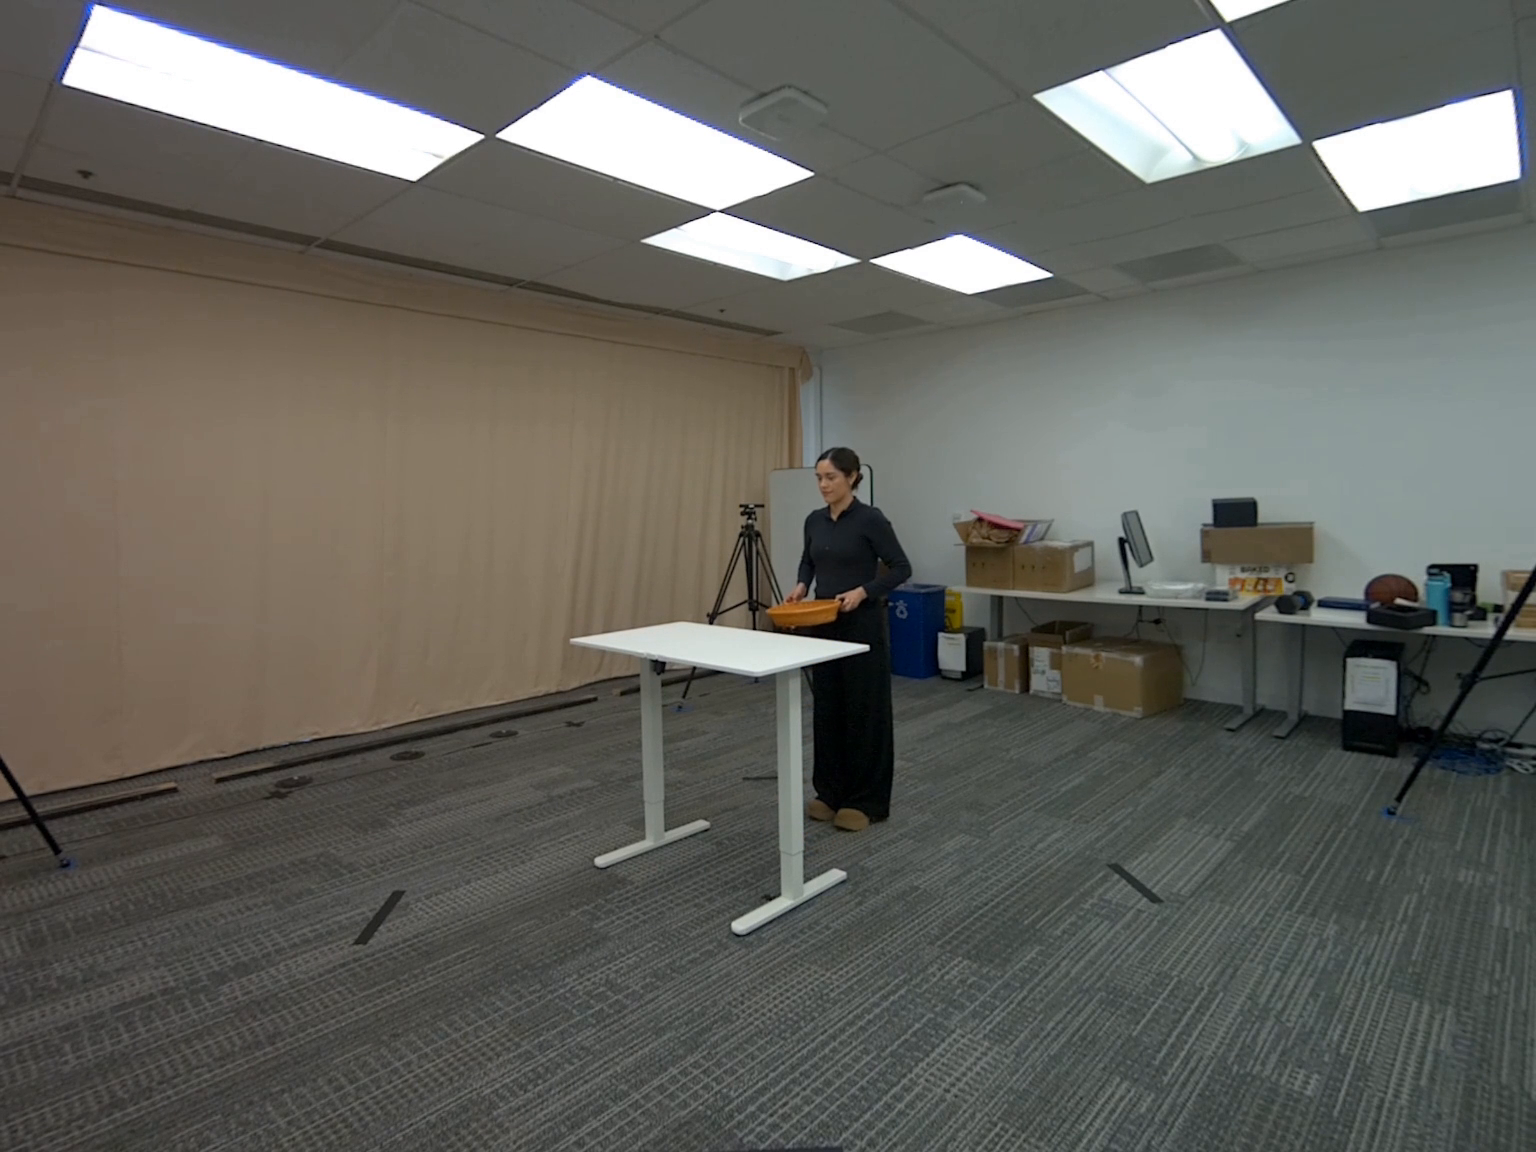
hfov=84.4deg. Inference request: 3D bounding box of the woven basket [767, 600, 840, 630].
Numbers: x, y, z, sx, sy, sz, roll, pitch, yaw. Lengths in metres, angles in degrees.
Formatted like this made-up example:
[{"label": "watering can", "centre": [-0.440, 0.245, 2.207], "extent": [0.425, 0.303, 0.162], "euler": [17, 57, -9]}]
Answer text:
[{"label": "woven basket", "centre": [0.148, 0.160, 3.532], "extent": [0.361, 0.073, 0.246], "euler": [-4, 6, 38]}]
